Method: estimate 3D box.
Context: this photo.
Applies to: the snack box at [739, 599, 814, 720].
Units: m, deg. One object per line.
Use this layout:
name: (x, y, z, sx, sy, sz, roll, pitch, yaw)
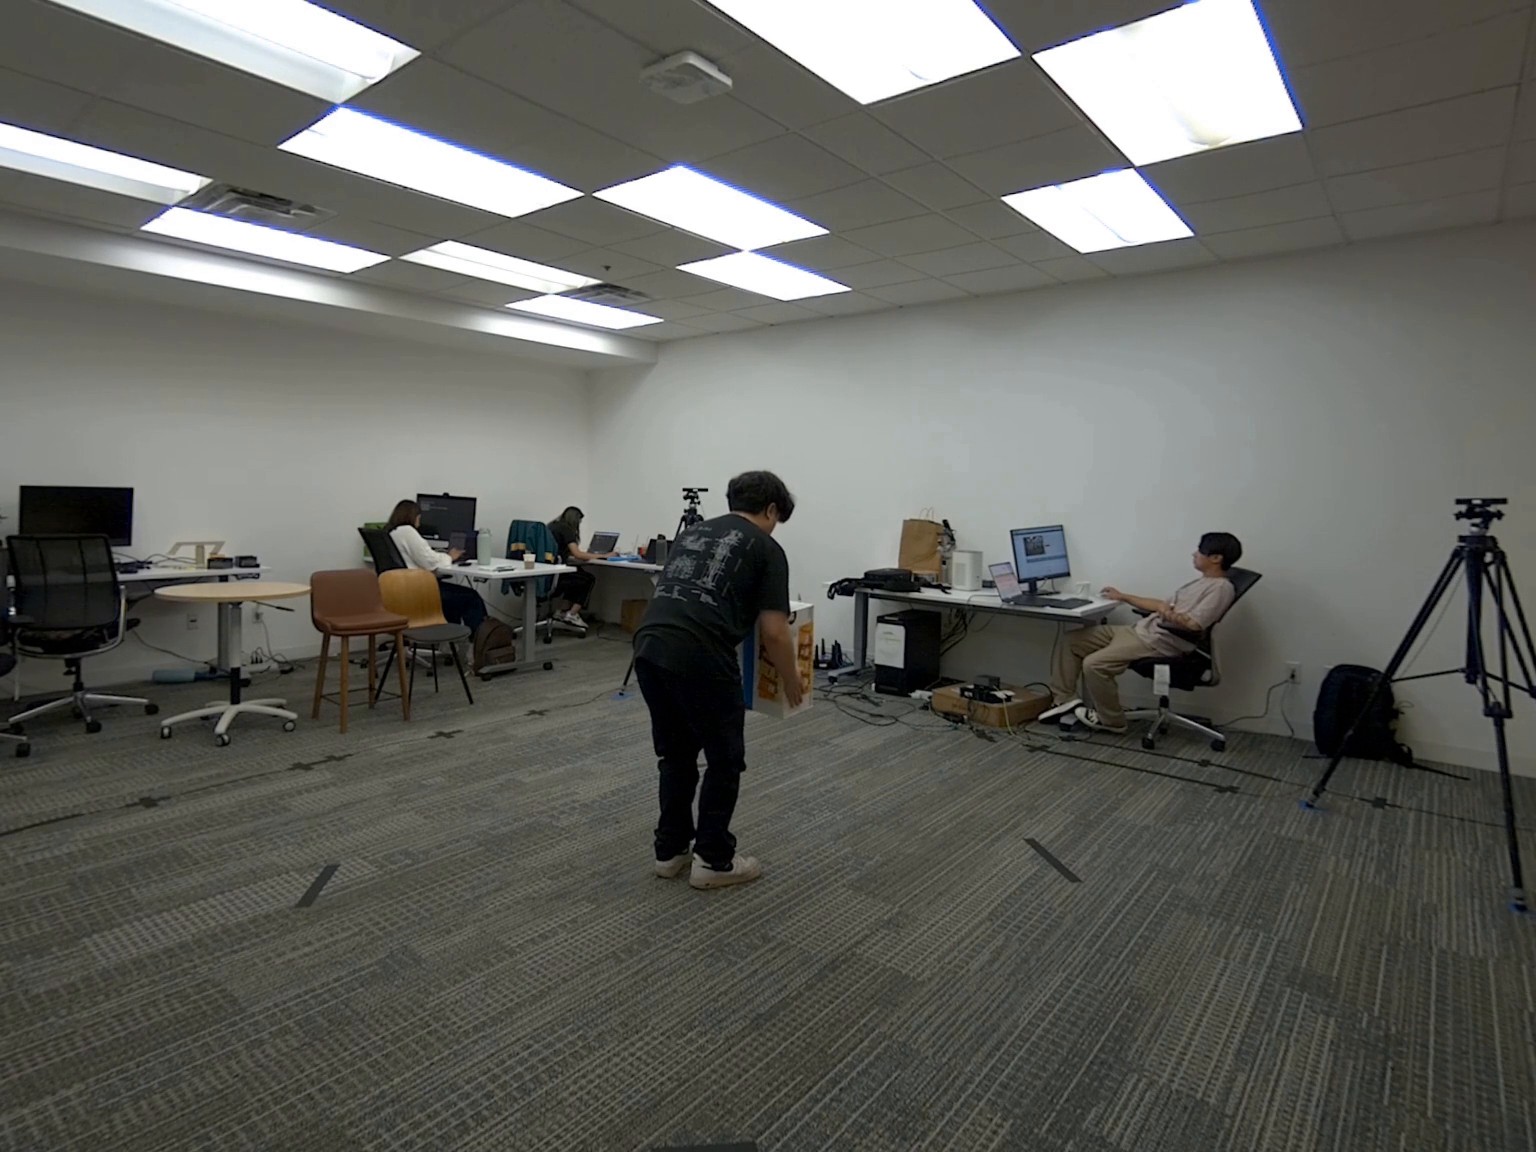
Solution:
snack box: (-0.028, 0.299, 3.296, 0.352, 0.402, 0.200, 7, 10, 37)
